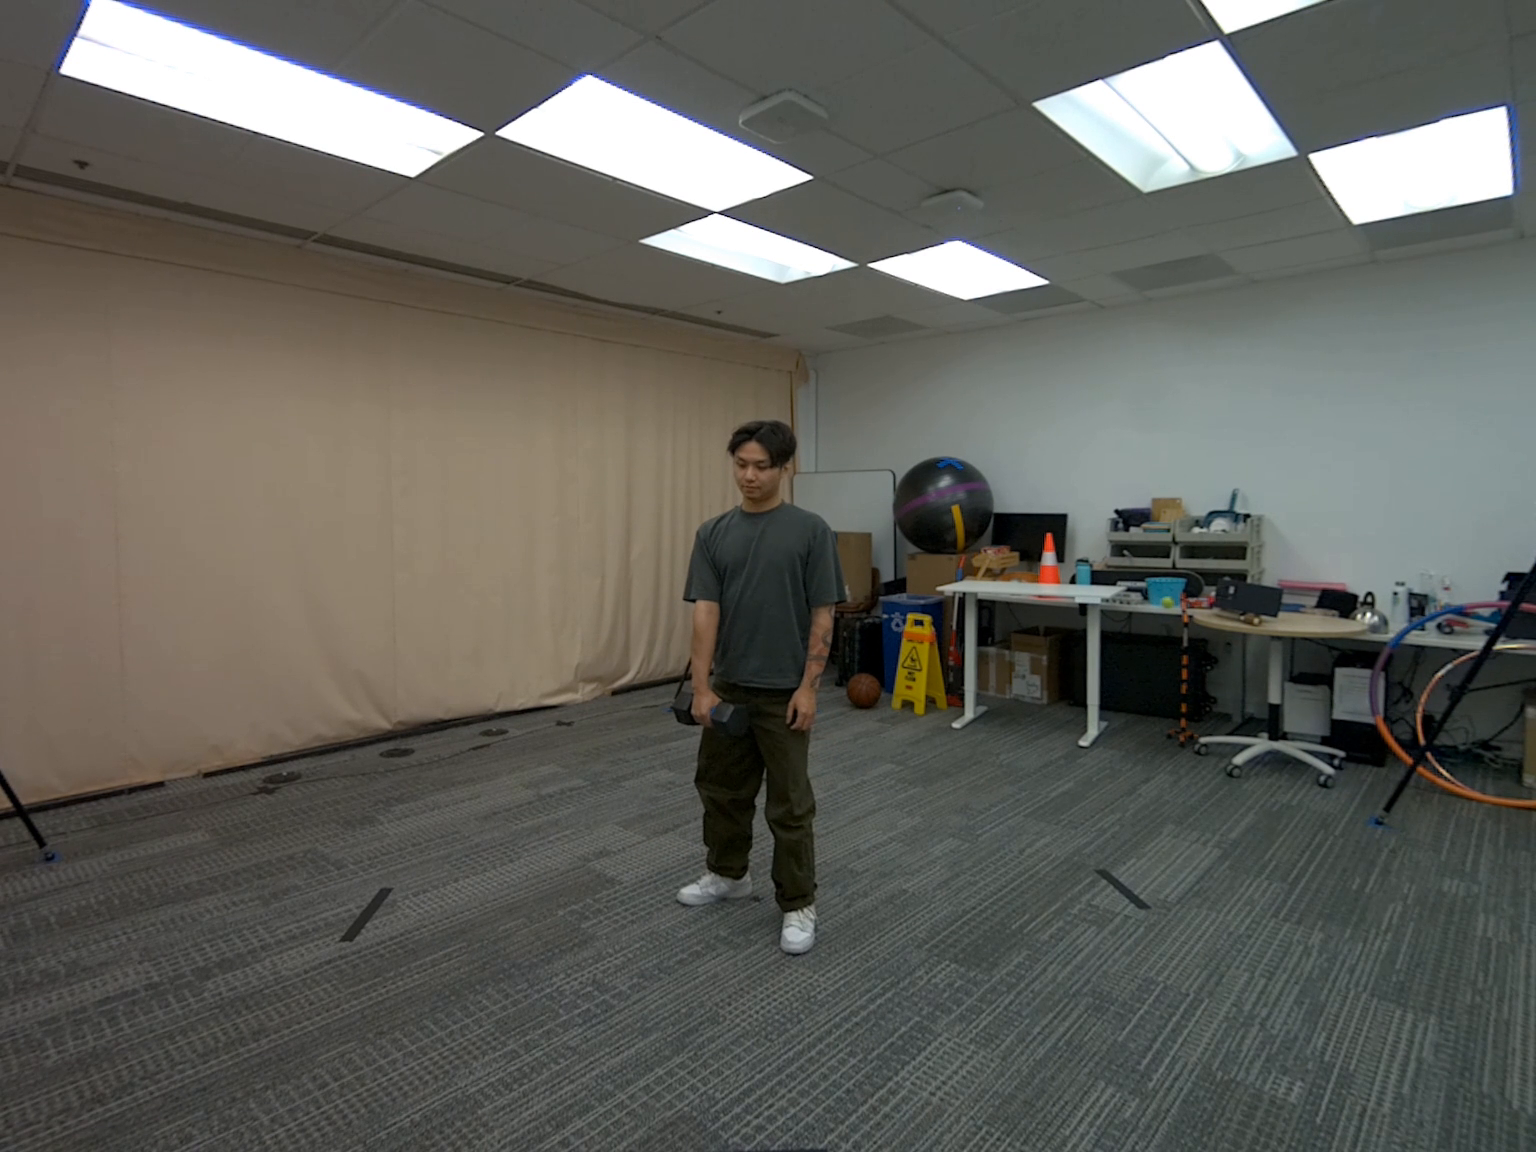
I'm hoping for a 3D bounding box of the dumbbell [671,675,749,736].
[{"bbox_3d":[-0.180,0.449,2.742,0.107,0.121,0.303,-30,20,-35],"label":"dumbbell"}]
